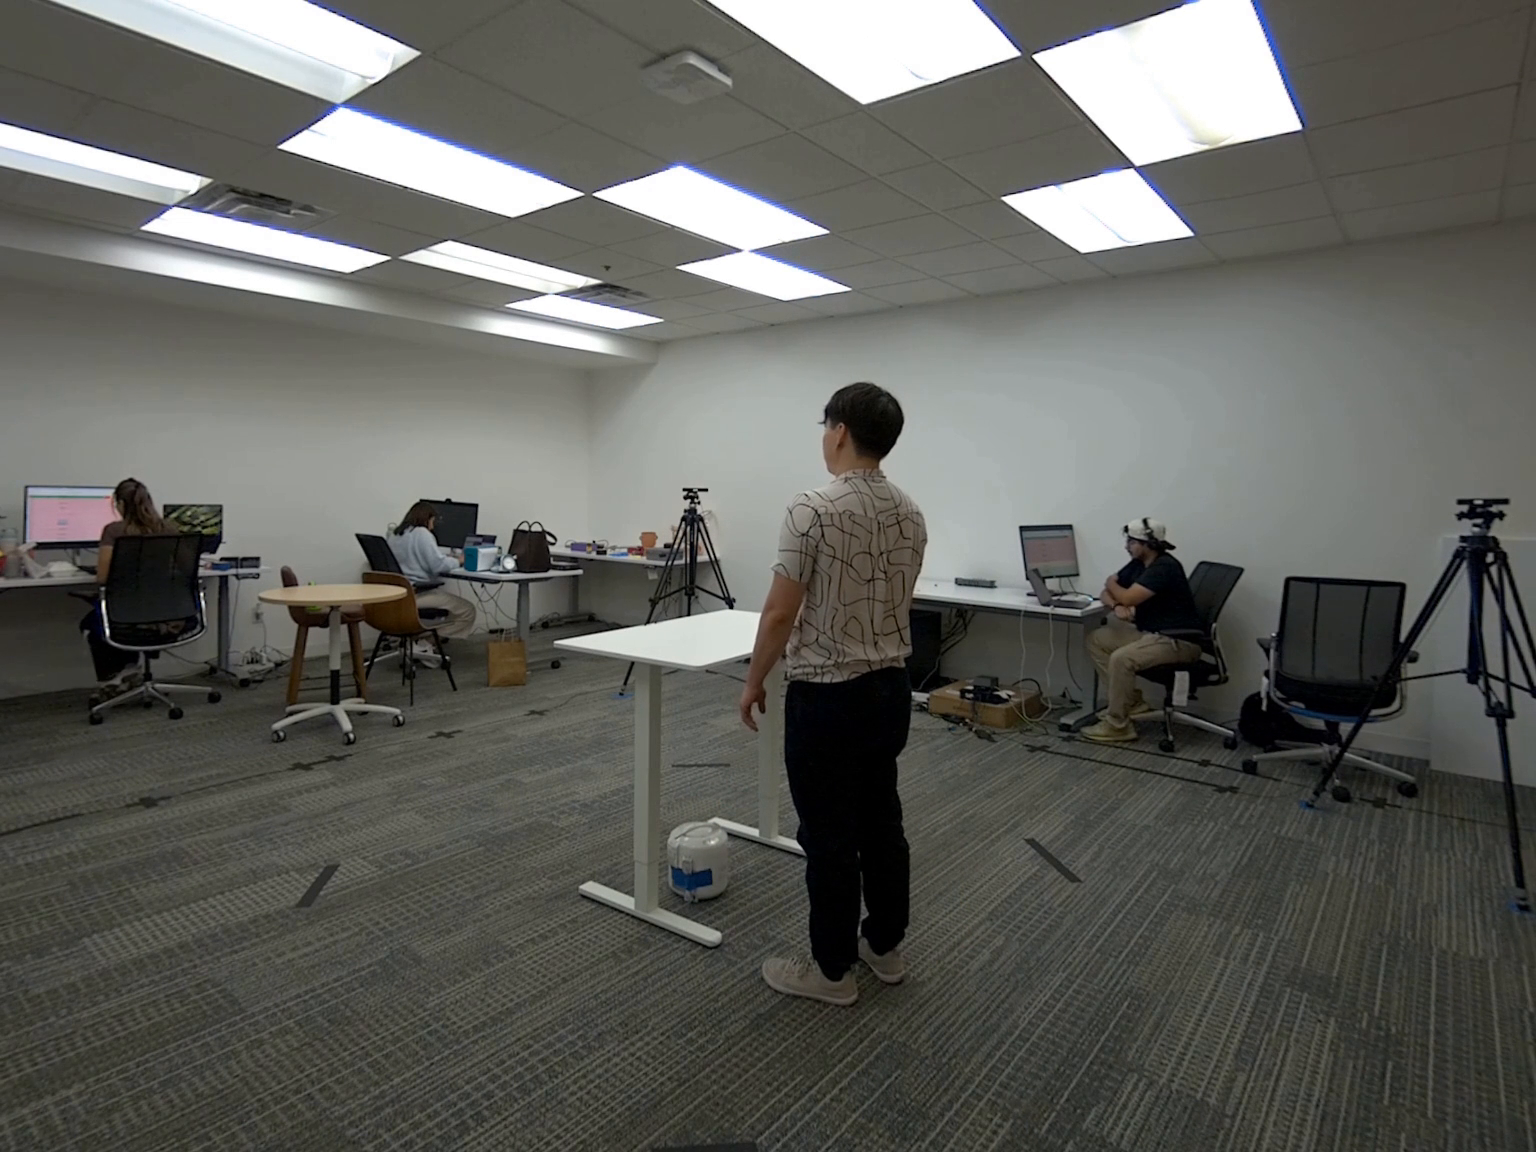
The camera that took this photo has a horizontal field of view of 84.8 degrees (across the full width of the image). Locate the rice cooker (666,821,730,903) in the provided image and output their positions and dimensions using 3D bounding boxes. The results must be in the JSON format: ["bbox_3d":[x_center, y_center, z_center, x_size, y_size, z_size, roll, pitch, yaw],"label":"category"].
[{"bbox_3d":[-0.249,0.968,2.949,0.215,0.232,0.224,-1,5,-31],"label":"rice cooker"}]
